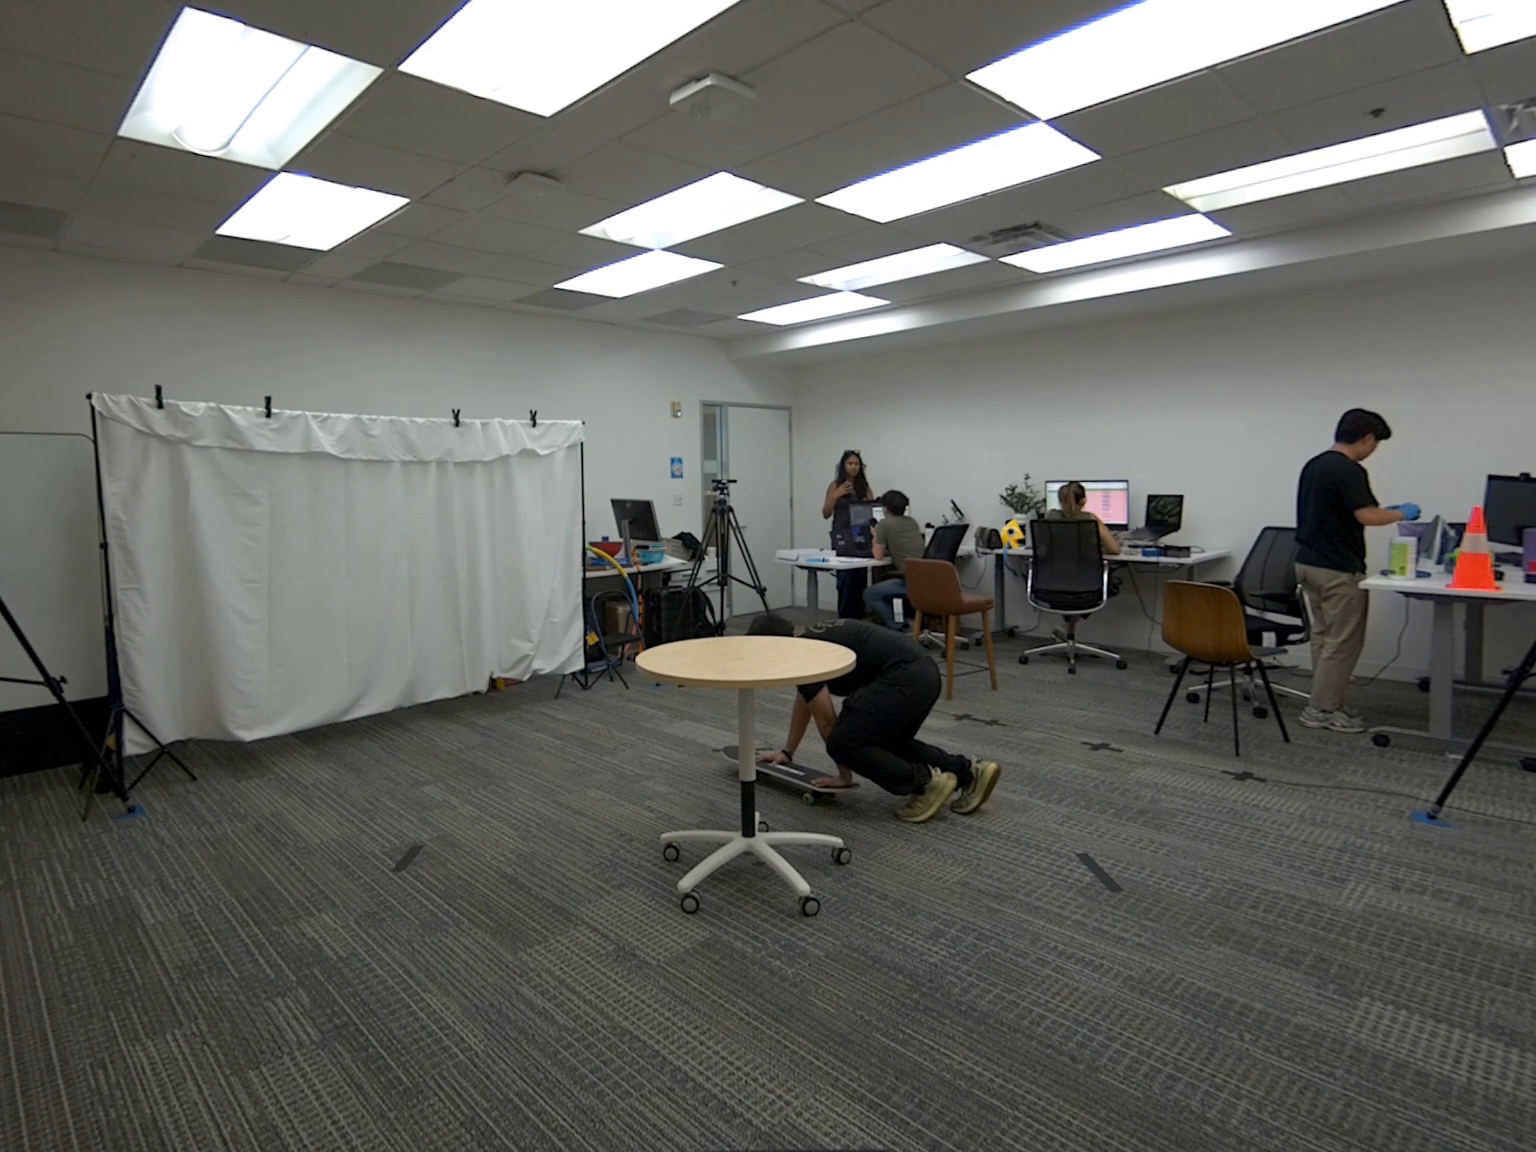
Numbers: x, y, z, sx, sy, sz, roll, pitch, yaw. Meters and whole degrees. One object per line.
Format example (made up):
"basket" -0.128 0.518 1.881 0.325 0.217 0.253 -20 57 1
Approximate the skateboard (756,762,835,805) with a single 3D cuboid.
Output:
"skateboard" 0.085 0.909 3.872 0.188 0.110 0.810 0 4 -42
